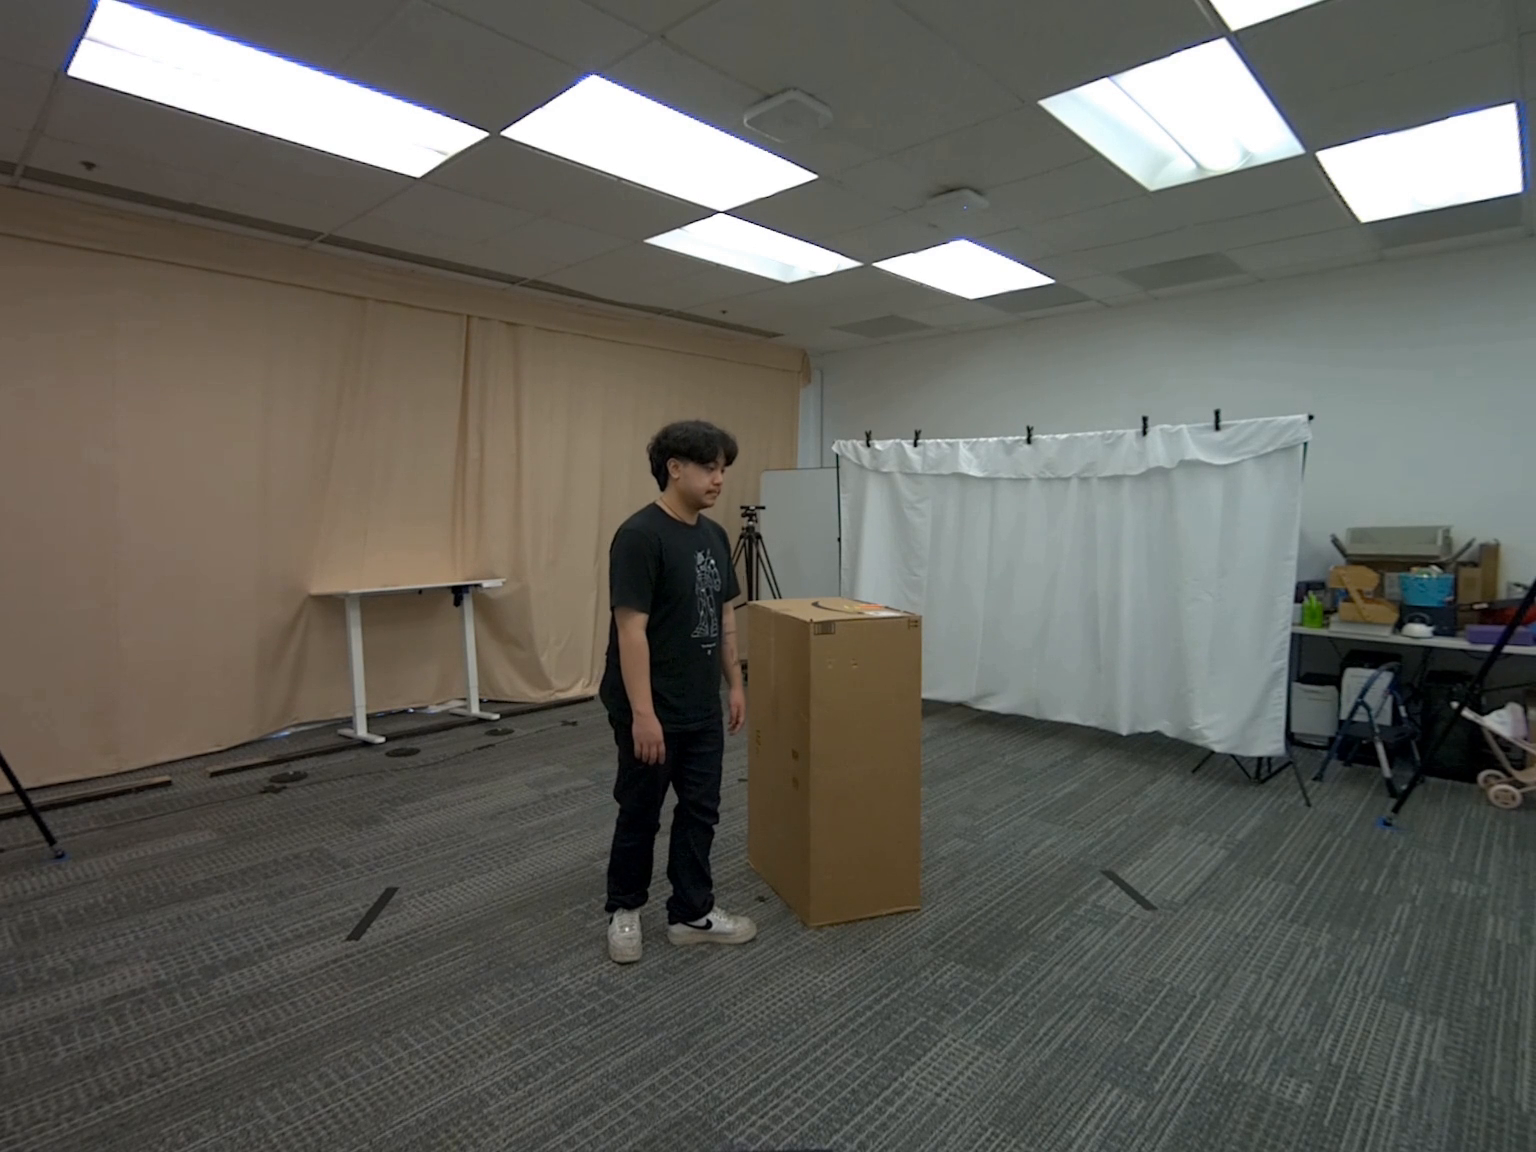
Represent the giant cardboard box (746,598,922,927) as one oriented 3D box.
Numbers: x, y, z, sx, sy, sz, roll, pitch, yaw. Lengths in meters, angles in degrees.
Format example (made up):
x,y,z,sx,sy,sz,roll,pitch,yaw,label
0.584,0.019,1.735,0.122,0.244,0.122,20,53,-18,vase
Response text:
x,y,z,sx,sy,sz,roll,pitch,yaw,label
0.229,0.622,3.083,0.438,1.025,0.597,-1,3,-21,giant cardboard box
